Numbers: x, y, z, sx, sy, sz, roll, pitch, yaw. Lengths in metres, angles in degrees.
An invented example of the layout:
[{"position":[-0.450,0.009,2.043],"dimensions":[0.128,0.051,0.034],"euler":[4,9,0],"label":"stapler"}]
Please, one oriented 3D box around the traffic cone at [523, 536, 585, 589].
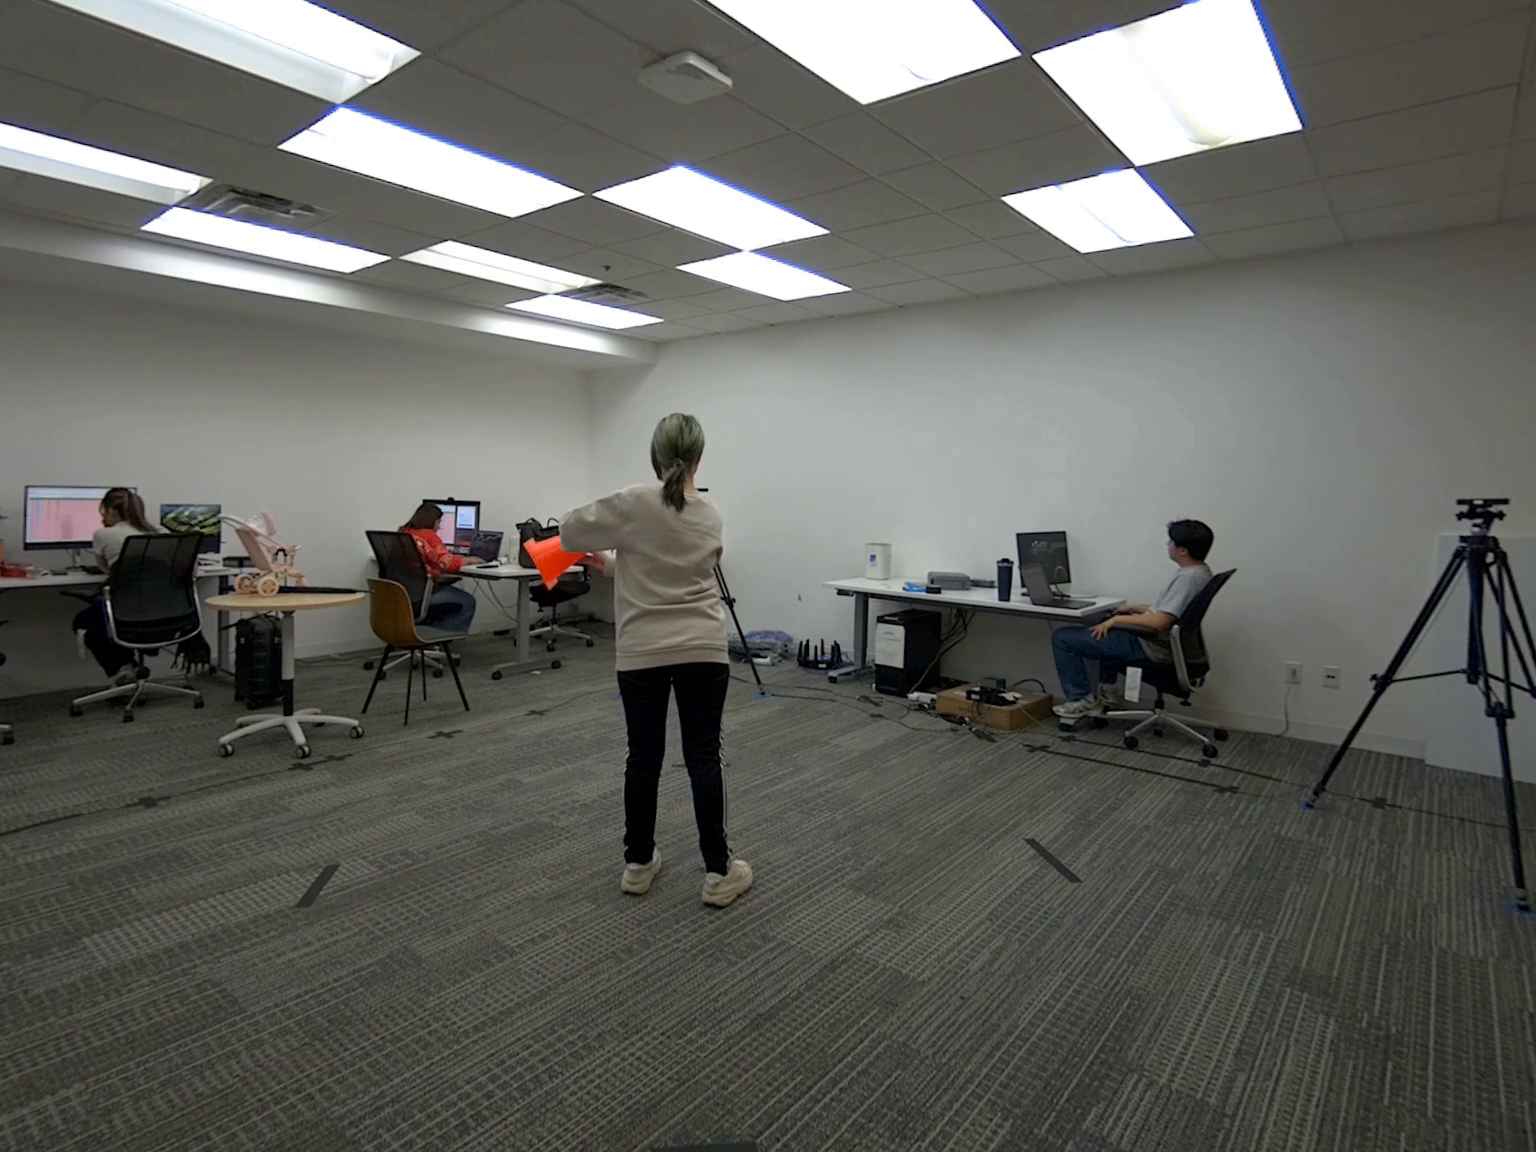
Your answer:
[{"position":[-0.702,-0.125,3.241],"dimensions":[0.384,0.204,0.204],"euler":[-27,4,2],"label":"traffic cone"}]
